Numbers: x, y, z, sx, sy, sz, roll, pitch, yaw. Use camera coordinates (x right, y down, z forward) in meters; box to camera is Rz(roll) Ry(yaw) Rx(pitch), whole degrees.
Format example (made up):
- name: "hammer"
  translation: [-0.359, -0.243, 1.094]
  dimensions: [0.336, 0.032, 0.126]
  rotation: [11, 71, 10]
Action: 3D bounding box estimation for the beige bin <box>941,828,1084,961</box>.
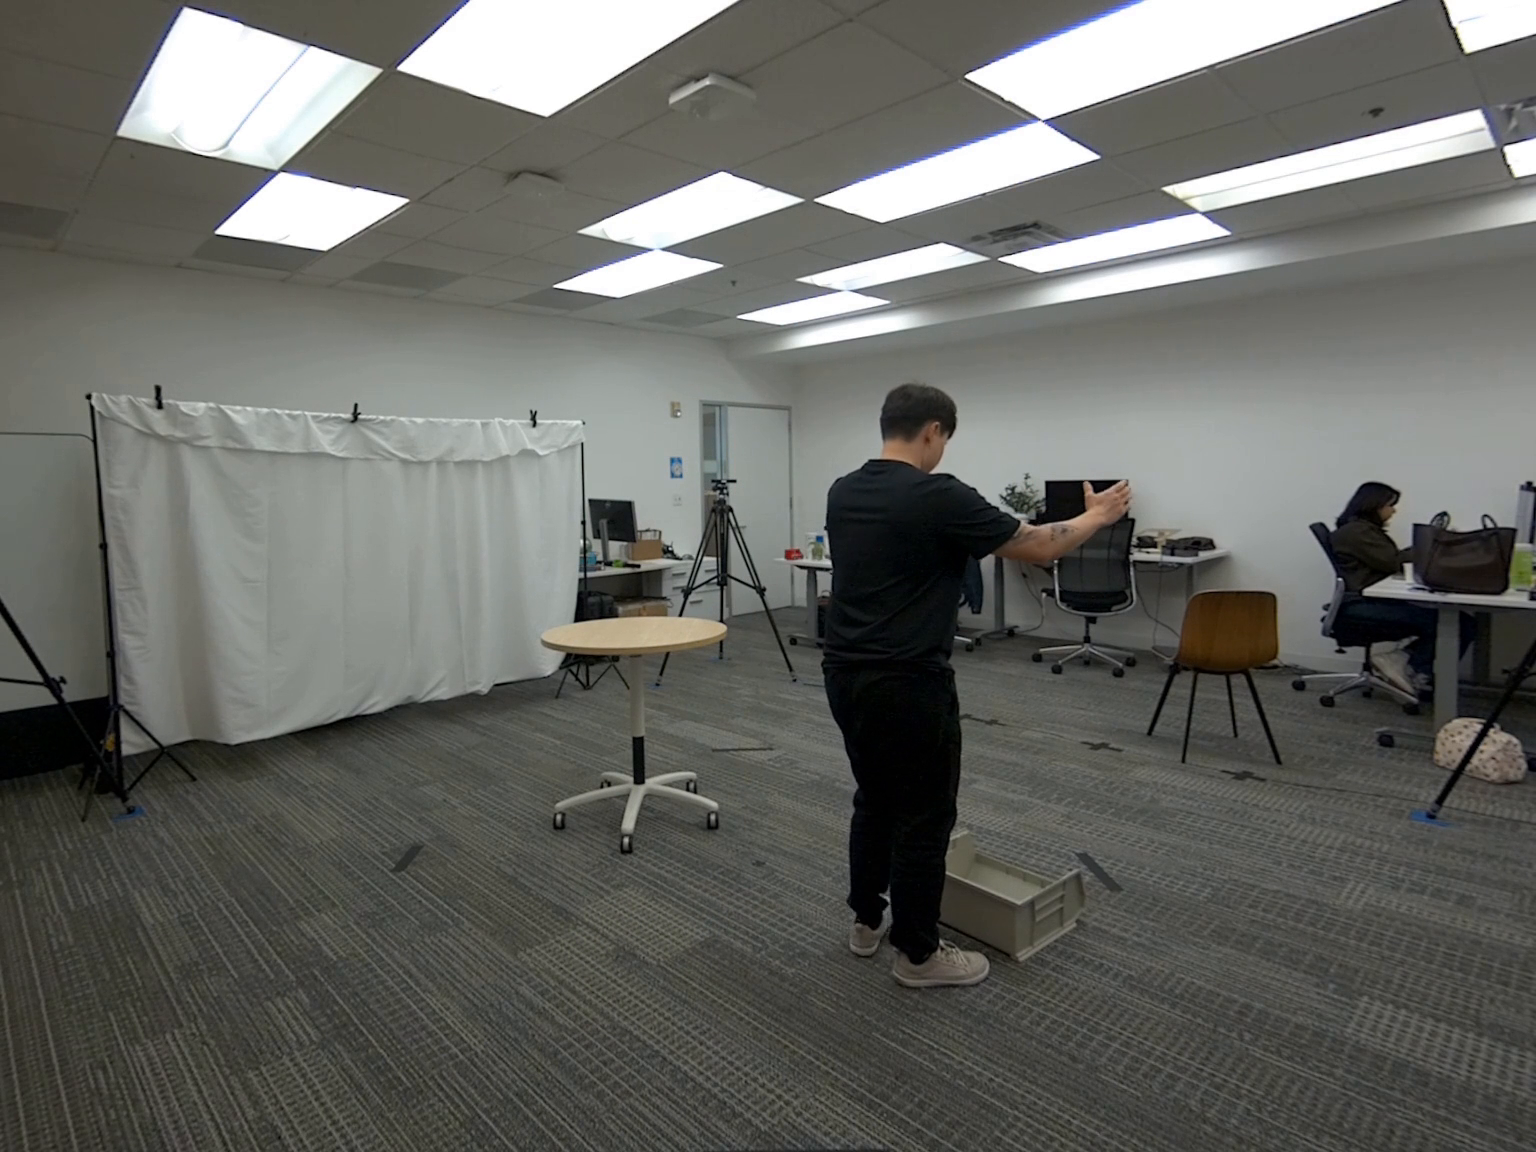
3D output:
- name: "beige bin"
  translation: [0.719, 0.991, 2.705]
  dimensions: [0.368, 0.188, 0.435]
  rotation: [-7, 8, -40]
